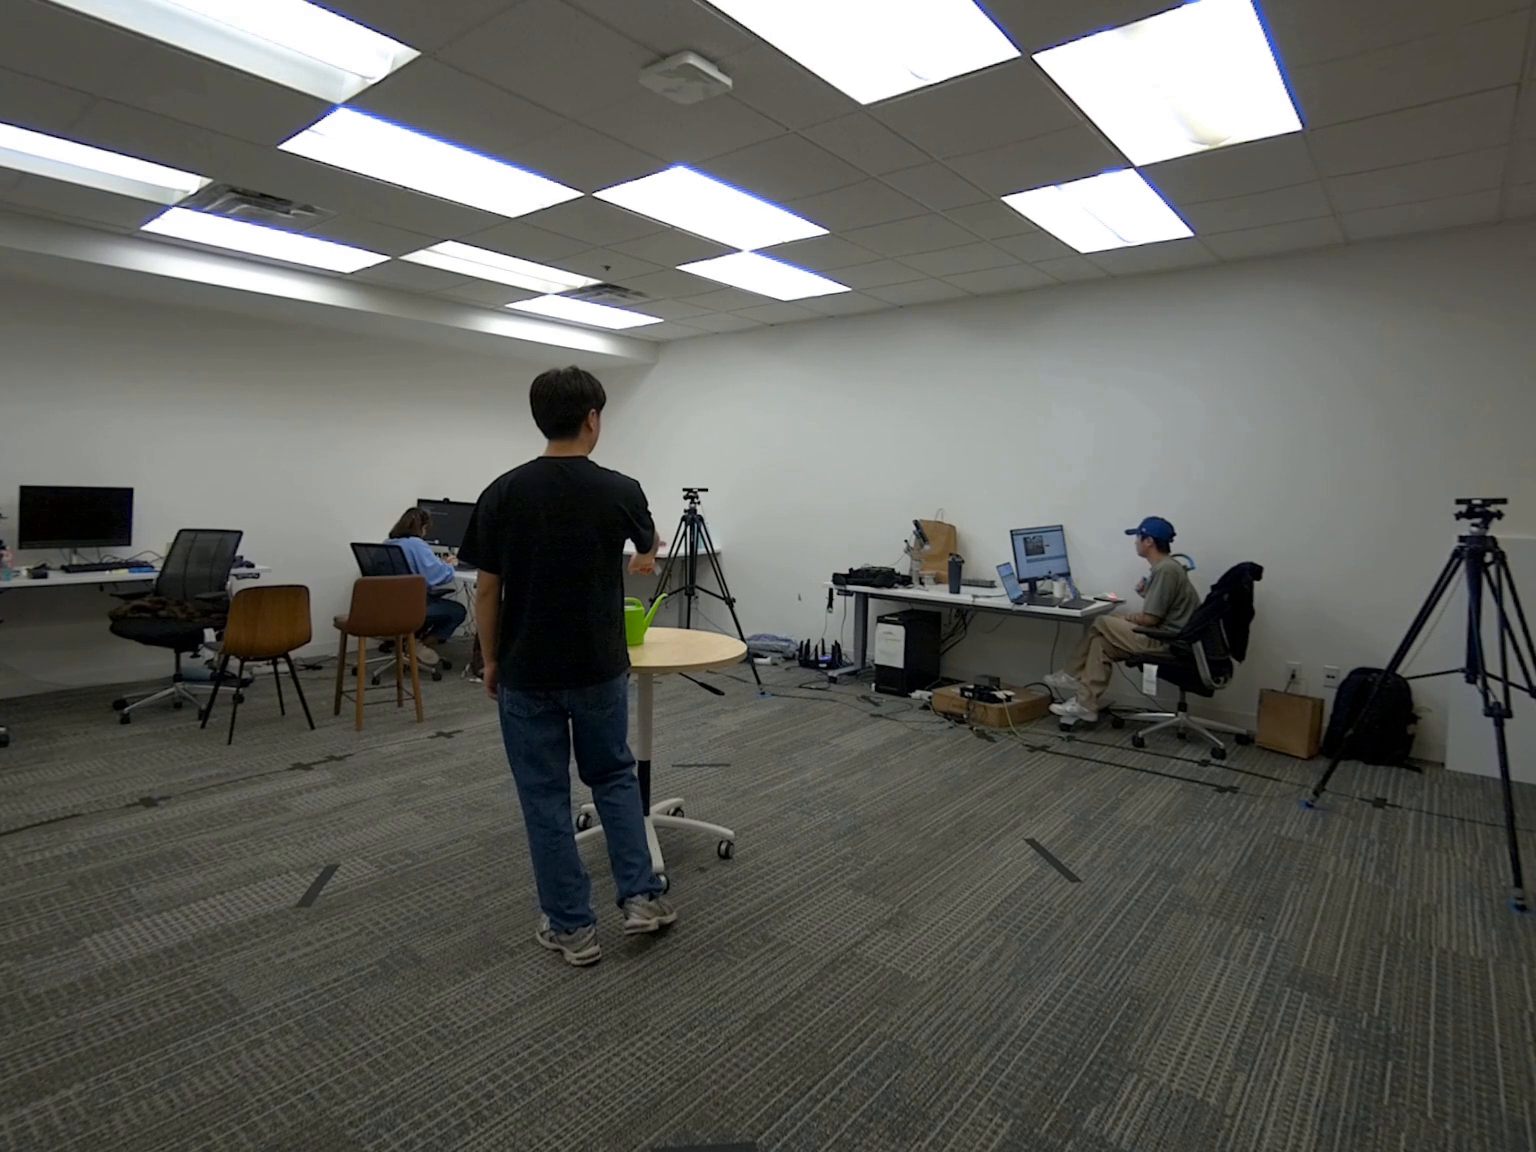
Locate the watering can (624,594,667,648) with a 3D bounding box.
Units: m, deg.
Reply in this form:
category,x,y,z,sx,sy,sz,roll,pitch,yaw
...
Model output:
category,x,y,z,sx,sy,sz,roll,pitch,yaw
watering can,-0.503,0.167,3.246,0.271,0.176,0.101,-3,8,-31
